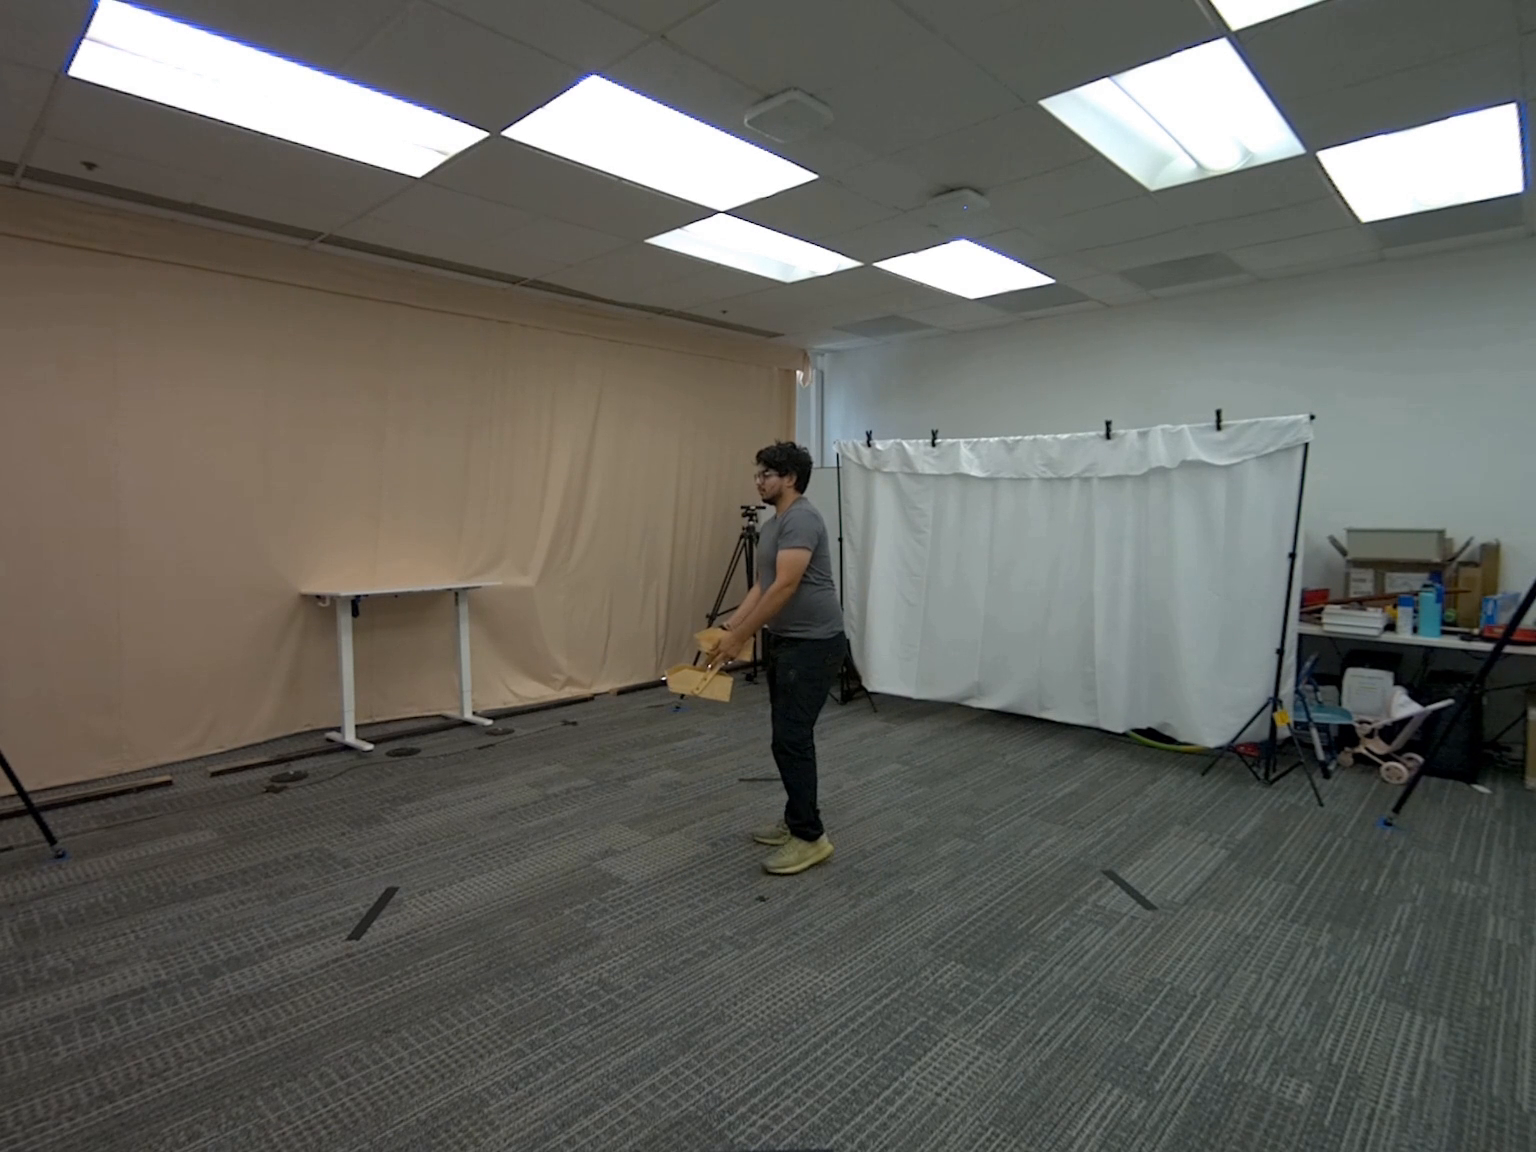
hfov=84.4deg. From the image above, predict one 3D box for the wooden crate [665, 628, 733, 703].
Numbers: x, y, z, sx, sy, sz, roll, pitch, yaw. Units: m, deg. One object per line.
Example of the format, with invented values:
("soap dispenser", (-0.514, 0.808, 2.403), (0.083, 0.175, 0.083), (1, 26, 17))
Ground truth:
("wooden crate", (-0.235, 0.342, 3.372), (0.300, 0.274, 0.326), (12, -5, -6))
